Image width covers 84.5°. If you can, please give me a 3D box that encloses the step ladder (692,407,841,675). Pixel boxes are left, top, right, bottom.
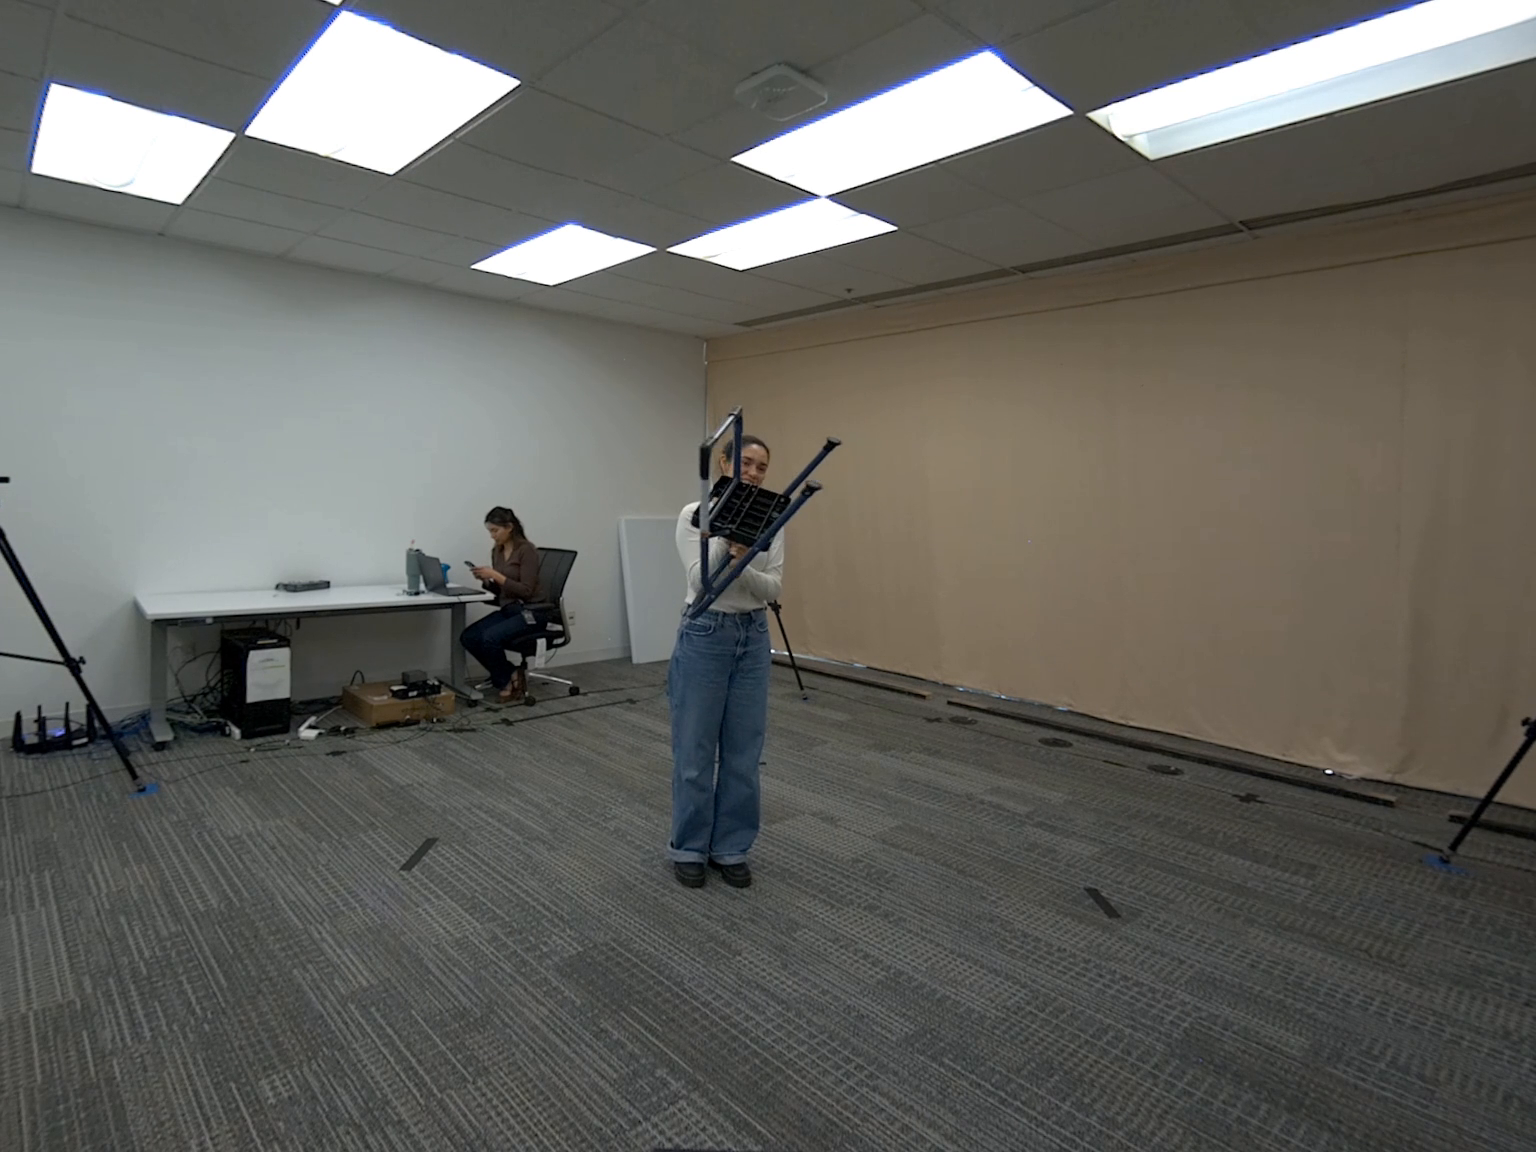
[{"bbox_3d":[-0.070,-0.132,2.562,0.351,0.599,0.433,21,28,4],"label":"step ladder"}]
